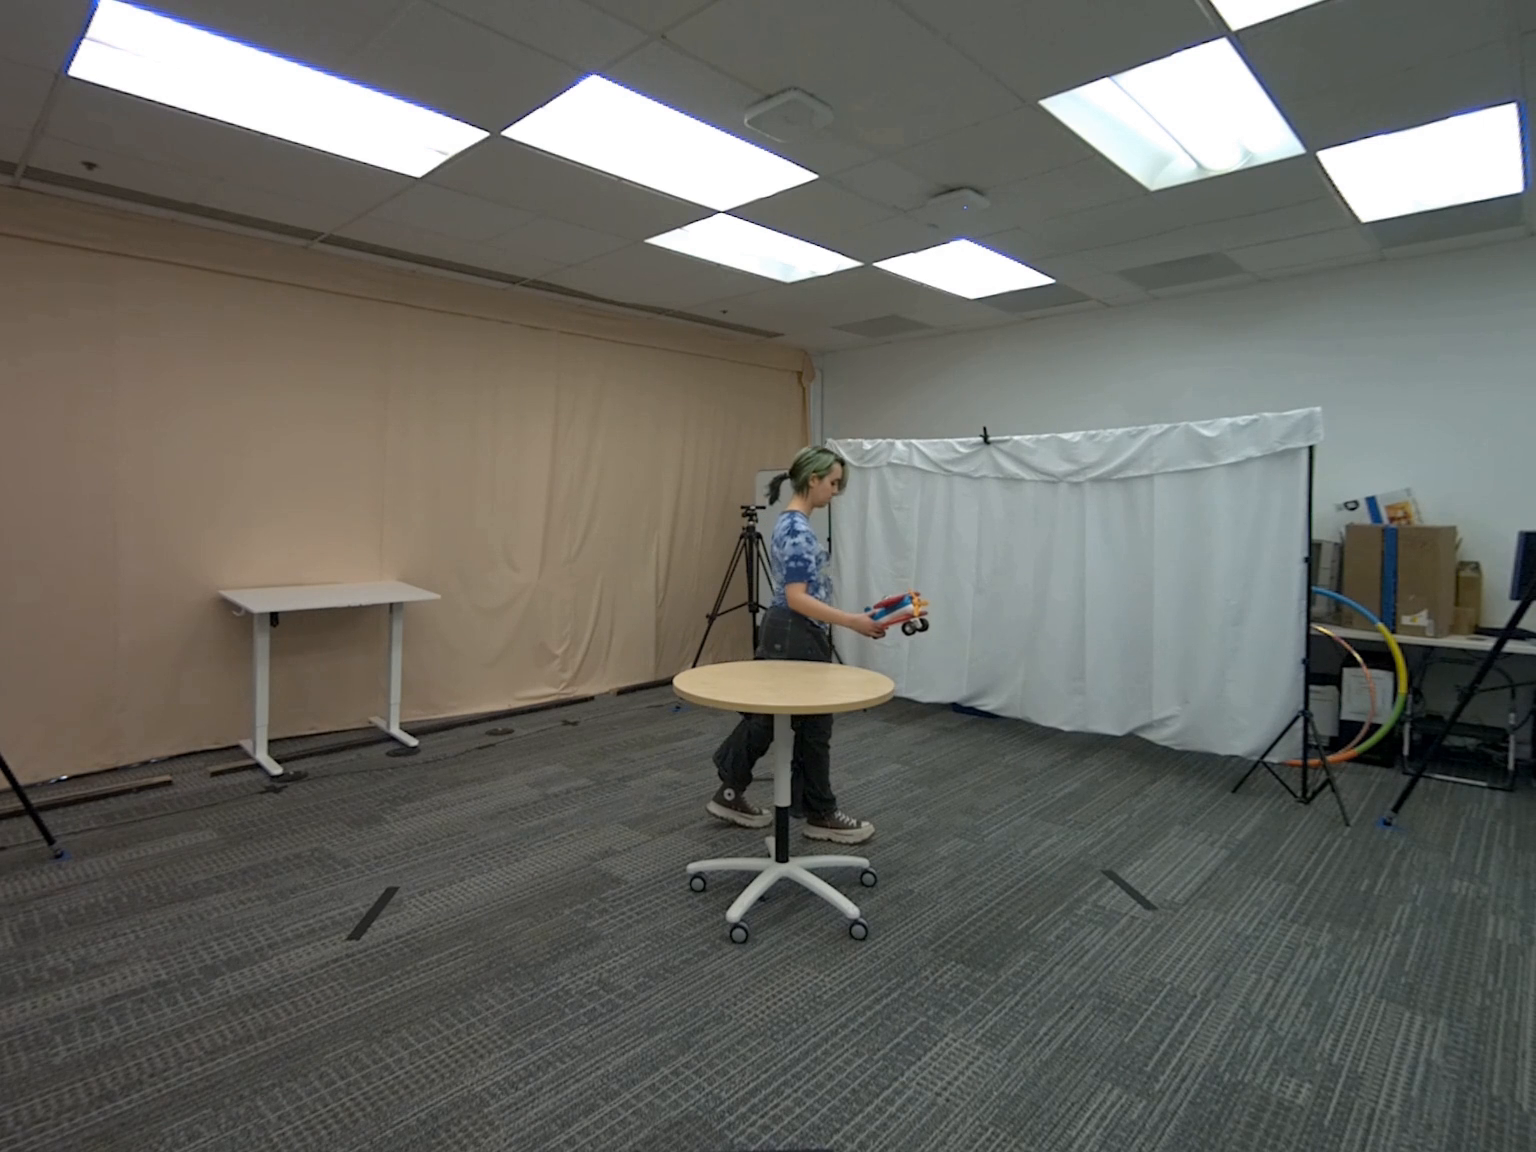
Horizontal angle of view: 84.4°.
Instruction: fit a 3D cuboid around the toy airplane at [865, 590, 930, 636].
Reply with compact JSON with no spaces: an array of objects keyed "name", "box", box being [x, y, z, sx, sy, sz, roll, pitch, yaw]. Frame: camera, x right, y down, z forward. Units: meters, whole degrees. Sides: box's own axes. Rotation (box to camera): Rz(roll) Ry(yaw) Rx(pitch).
[{"name":"toy airplane","box":[0.475,0.157,3.234,0.263,0.157,0.247,-10,-1,17]}]
